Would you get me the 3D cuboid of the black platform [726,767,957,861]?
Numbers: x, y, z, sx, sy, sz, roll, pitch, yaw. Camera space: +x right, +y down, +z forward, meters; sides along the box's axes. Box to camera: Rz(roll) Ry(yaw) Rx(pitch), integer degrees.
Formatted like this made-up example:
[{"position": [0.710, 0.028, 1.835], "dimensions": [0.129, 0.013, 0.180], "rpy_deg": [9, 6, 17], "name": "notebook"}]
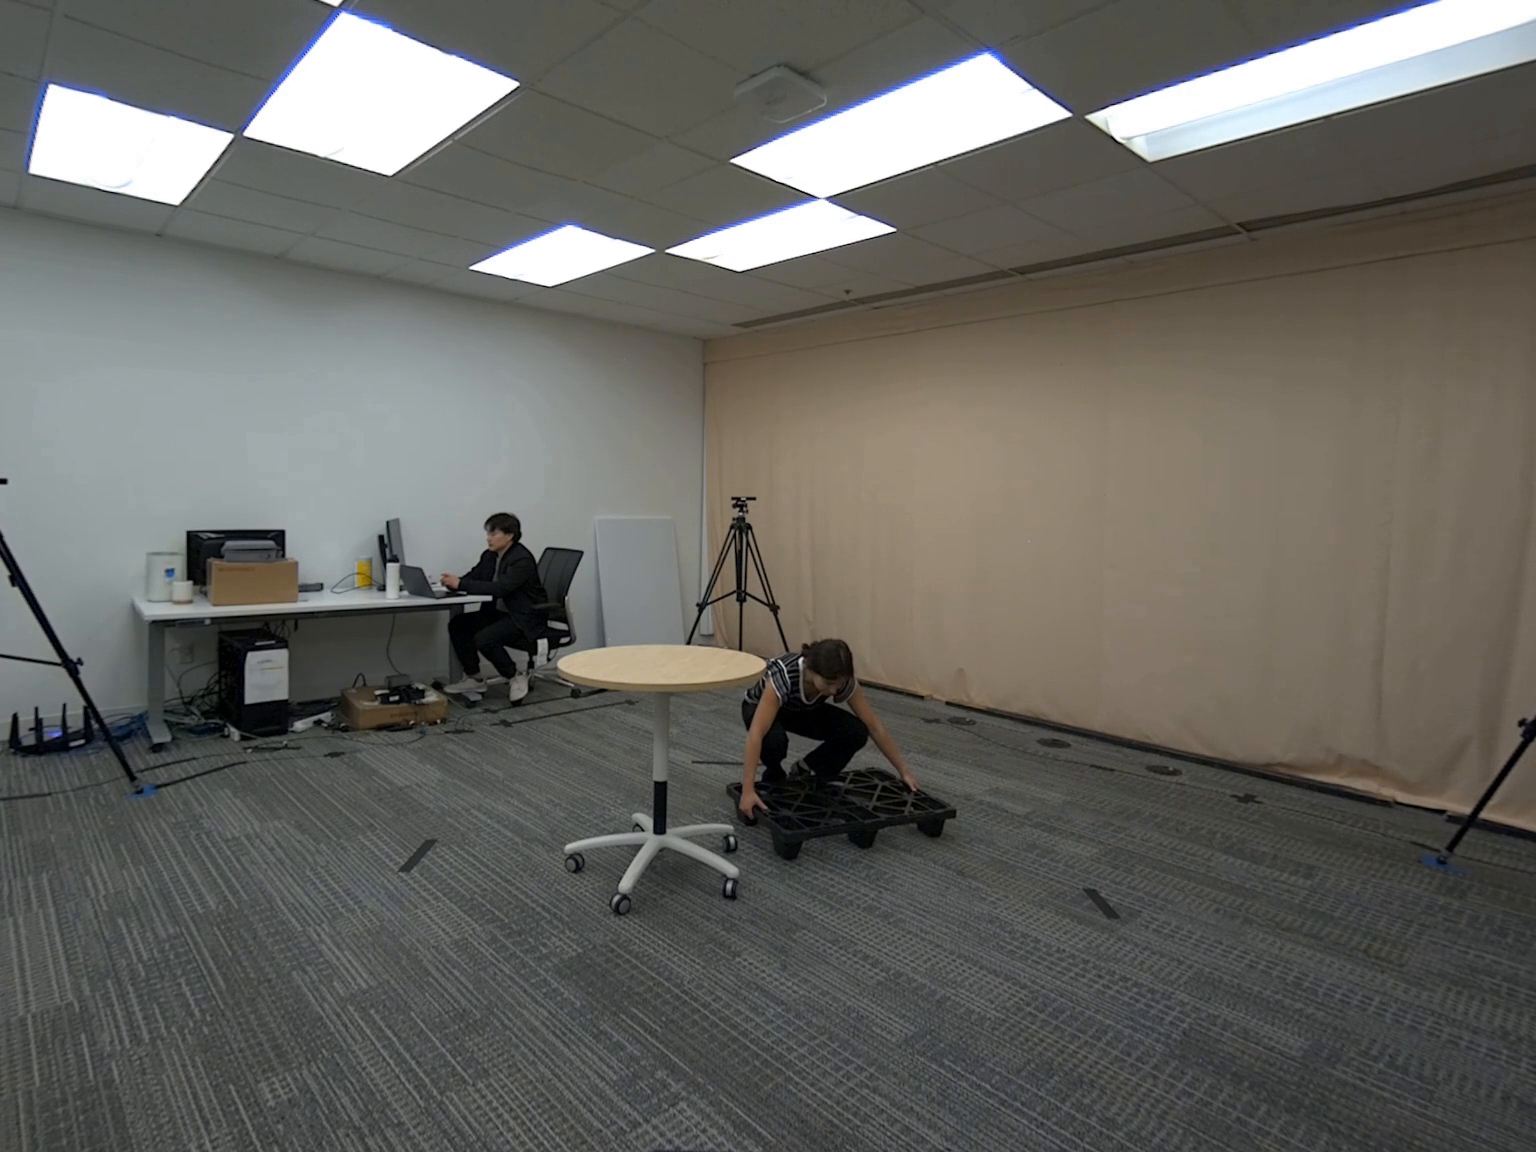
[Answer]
[{"position": [0.287, 1.008, 3.596], "dimensions": [0.792, 0.143, 0.617], "rpy_deg": [-1, 6, -24], "name": "black platform"}]
